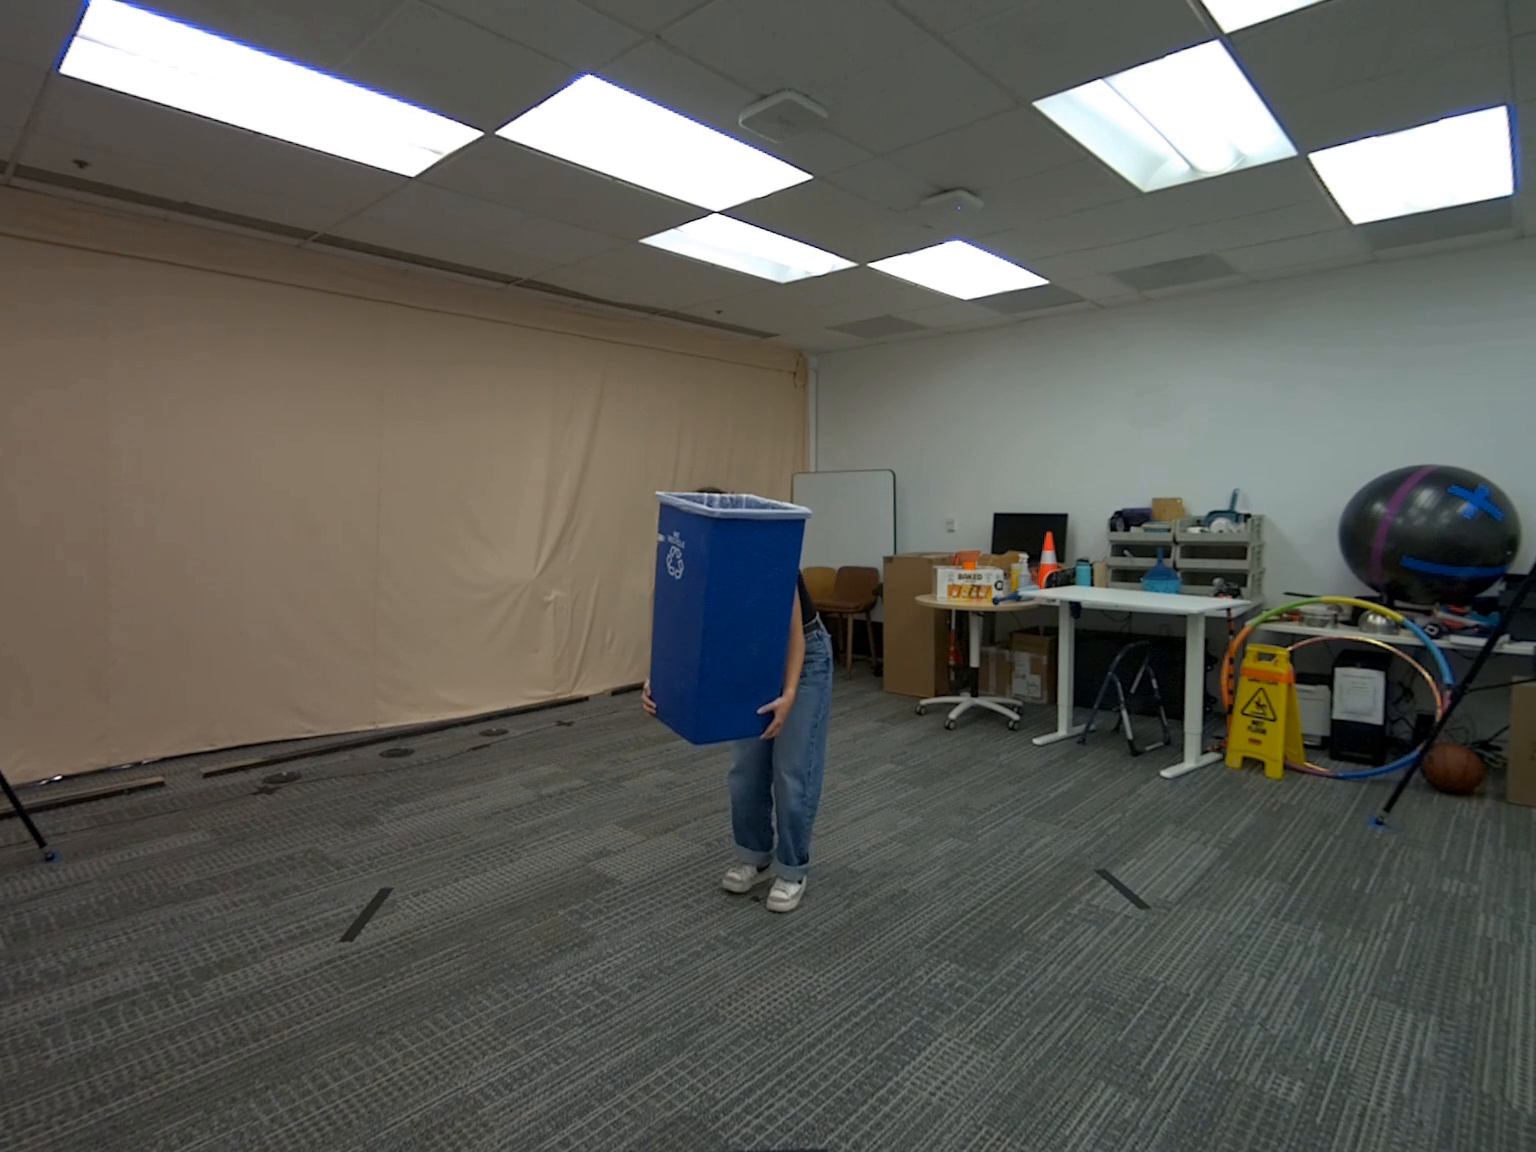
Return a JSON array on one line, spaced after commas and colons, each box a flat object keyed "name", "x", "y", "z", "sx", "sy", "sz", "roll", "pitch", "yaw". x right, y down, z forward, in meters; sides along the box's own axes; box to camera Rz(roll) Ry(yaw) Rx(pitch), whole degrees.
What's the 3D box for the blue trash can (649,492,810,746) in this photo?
[{"name": "blue trash can", "x": -0.138, "y": 0.124, "z": 2.621, "sx": 0.367, "sy": 0.710, "sz": 0.387, "roll": -2, "pitch": 12, "yaw": -35}]
